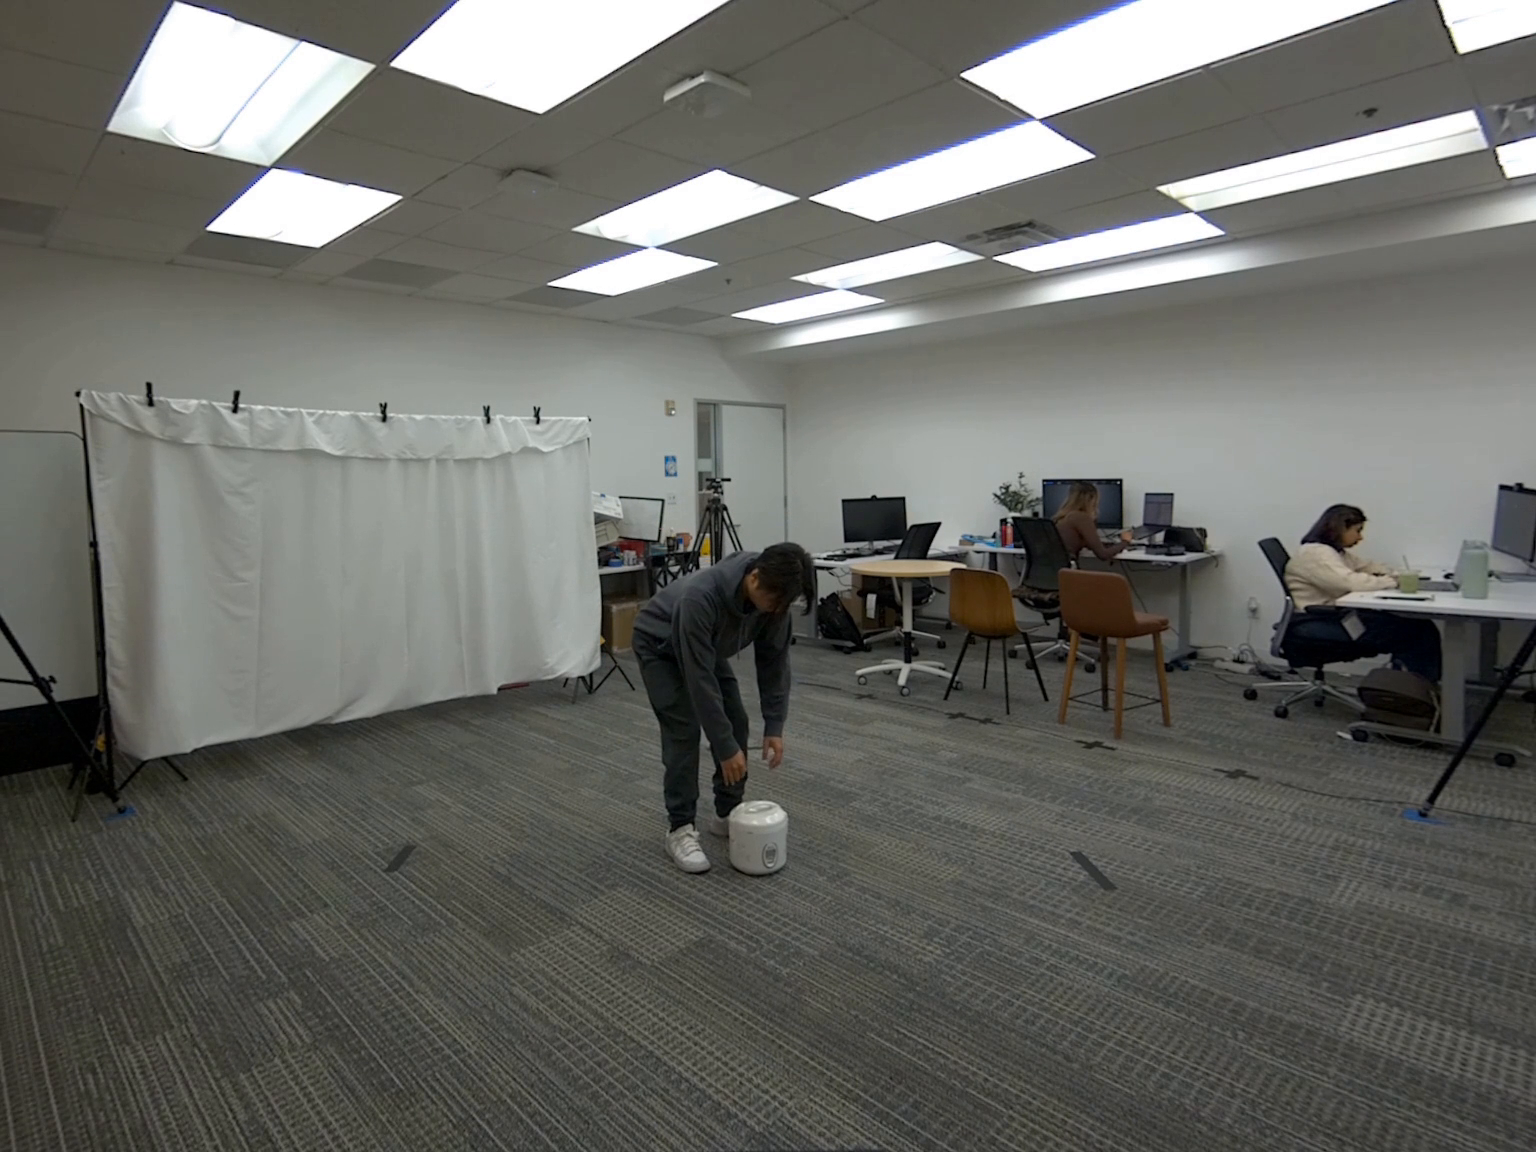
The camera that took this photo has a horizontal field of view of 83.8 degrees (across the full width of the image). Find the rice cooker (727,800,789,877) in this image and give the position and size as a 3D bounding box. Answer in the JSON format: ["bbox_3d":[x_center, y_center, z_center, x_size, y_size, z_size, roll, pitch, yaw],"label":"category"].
[{"bbox_3d":[-0.030,0.927,3.078,0.216,0.232,0.222,-3,4,-22],"label":"rice cooker"}]
